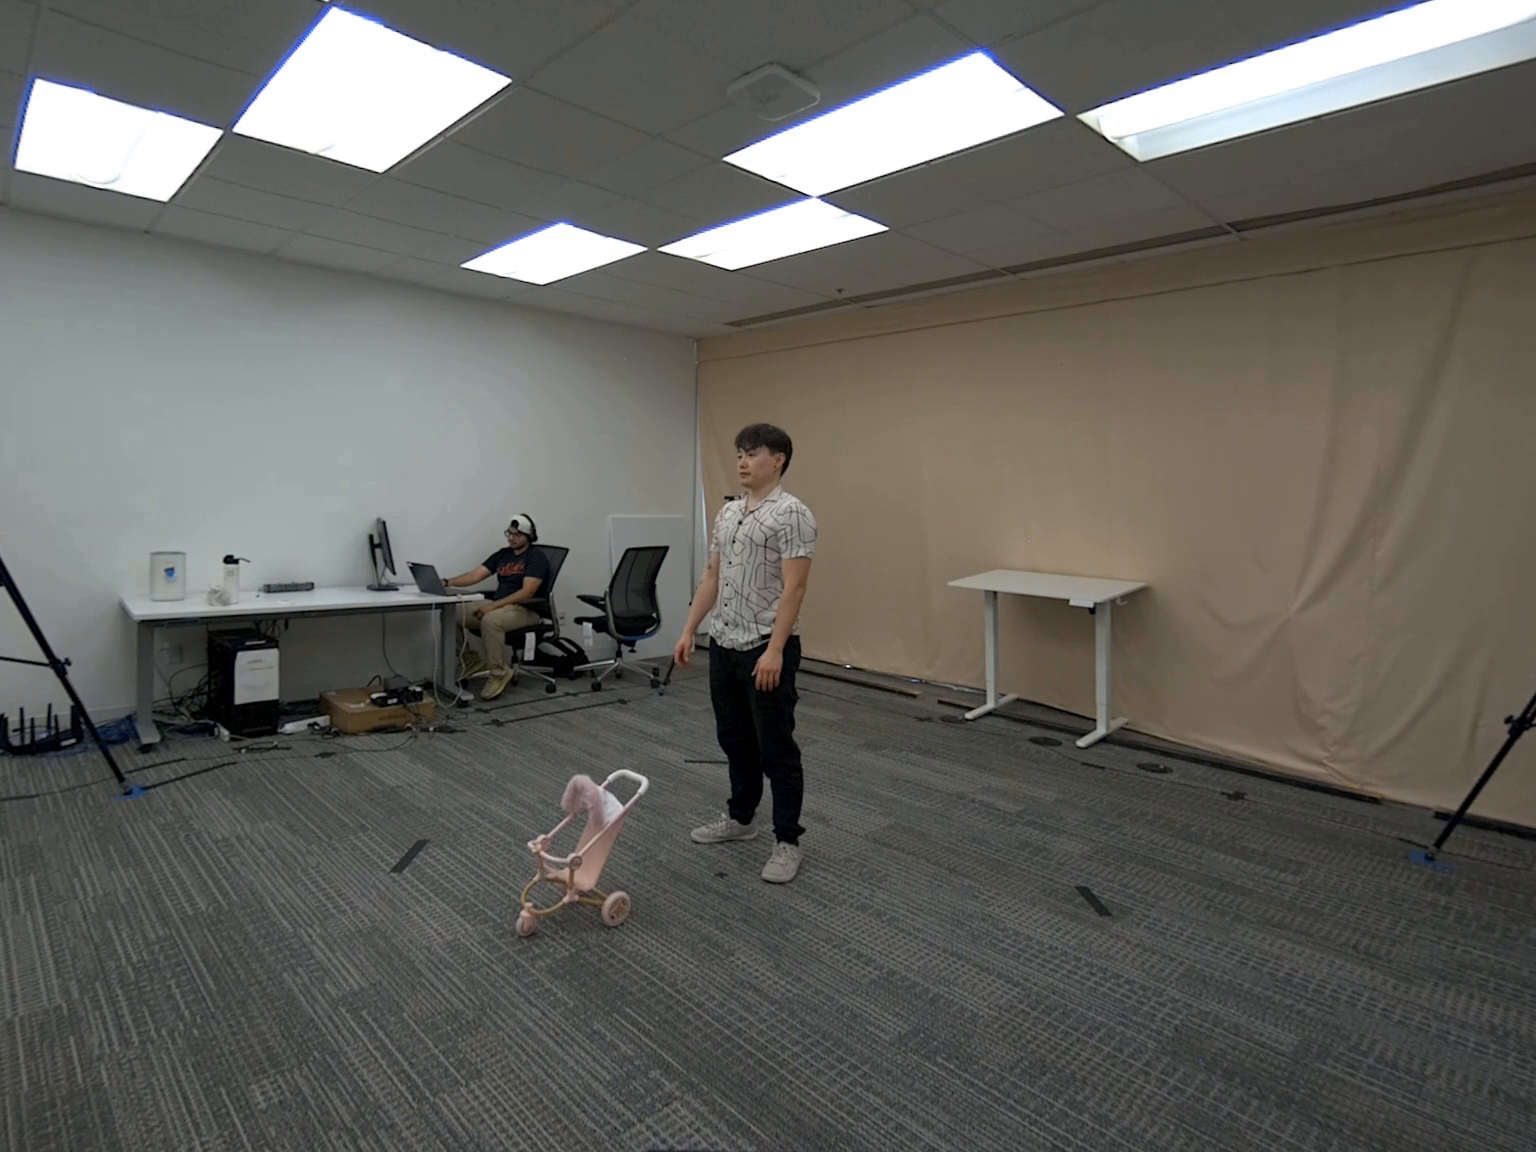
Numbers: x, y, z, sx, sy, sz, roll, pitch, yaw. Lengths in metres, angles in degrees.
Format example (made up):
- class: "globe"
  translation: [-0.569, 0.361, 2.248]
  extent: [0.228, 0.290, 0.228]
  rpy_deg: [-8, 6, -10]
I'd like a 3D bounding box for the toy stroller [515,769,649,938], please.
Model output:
- class: "toy stroller"
  translation: [-0.626, 0.899, 2.757]
  extent: [0.331, 0.537, 0.288]
  rpy_deg: [19, -8, -38]
